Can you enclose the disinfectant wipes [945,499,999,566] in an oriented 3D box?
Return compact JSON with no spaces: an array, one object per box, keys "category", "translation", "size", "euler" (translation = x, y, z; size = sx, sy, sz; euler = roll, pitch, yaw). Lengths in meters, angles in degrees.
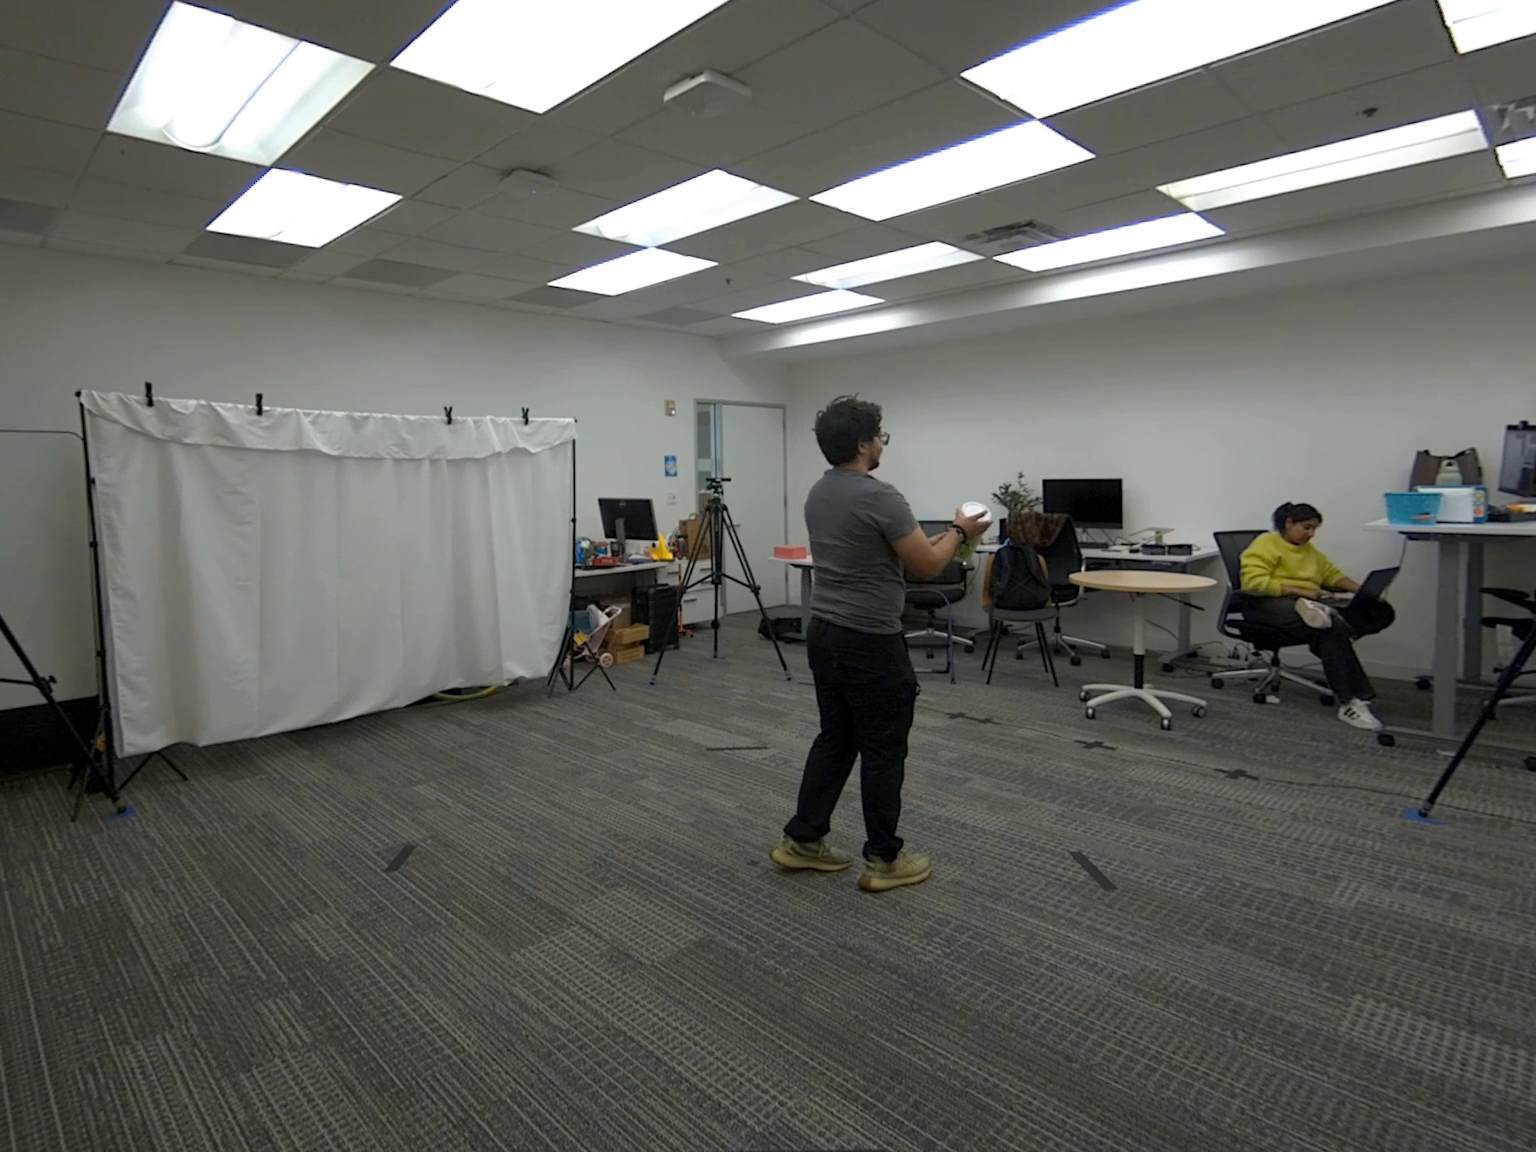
[{"category":"disinfectant wipes","translation":[0.727,-0.158,3.108],"size":[0.117,0.121,0.213],"euler":[4,-42,-7]}]
